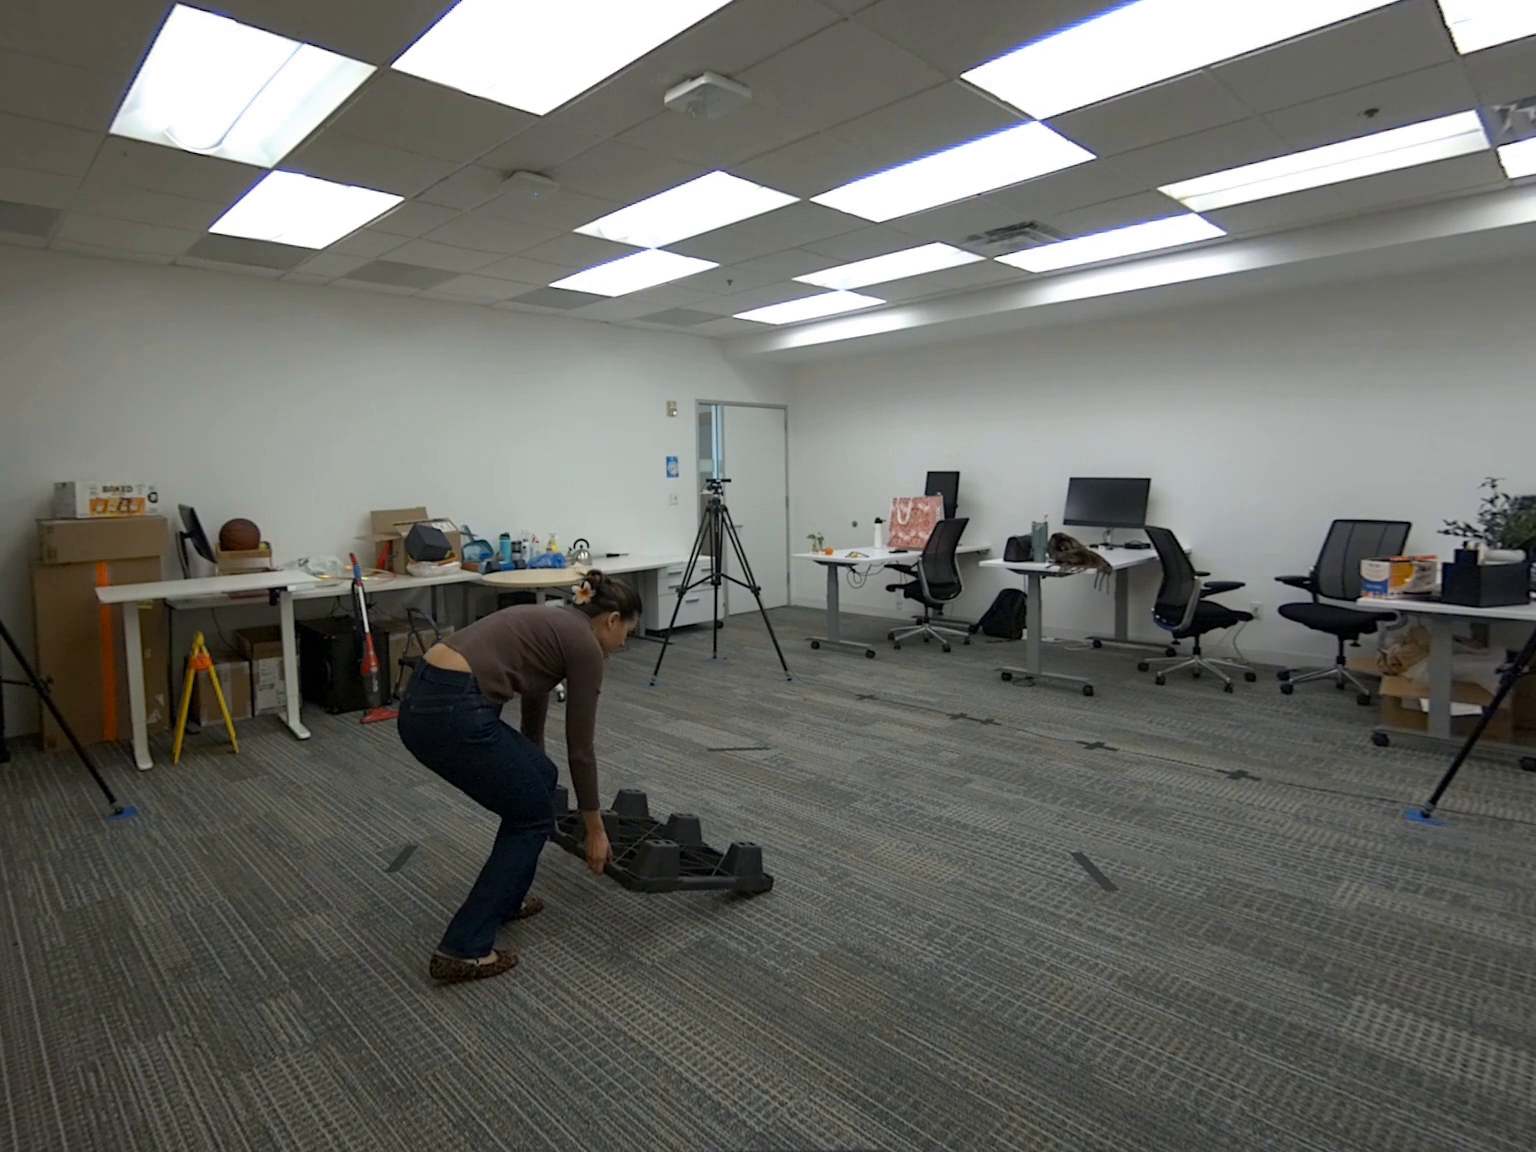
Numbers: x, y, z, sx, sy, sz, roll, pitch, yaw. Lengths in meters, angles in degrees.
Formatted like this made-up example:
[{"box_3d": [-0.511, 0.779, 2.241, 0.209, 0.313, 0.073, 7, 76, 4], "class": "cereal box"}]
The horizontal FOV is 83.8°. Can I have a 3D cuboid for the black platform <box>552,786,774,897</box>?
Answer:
[{"box_3d": [-0.439, 0.912, 3.026, 0.584, 0.144, 0.831, 16, -7, -41], "class": "black platform"}]
